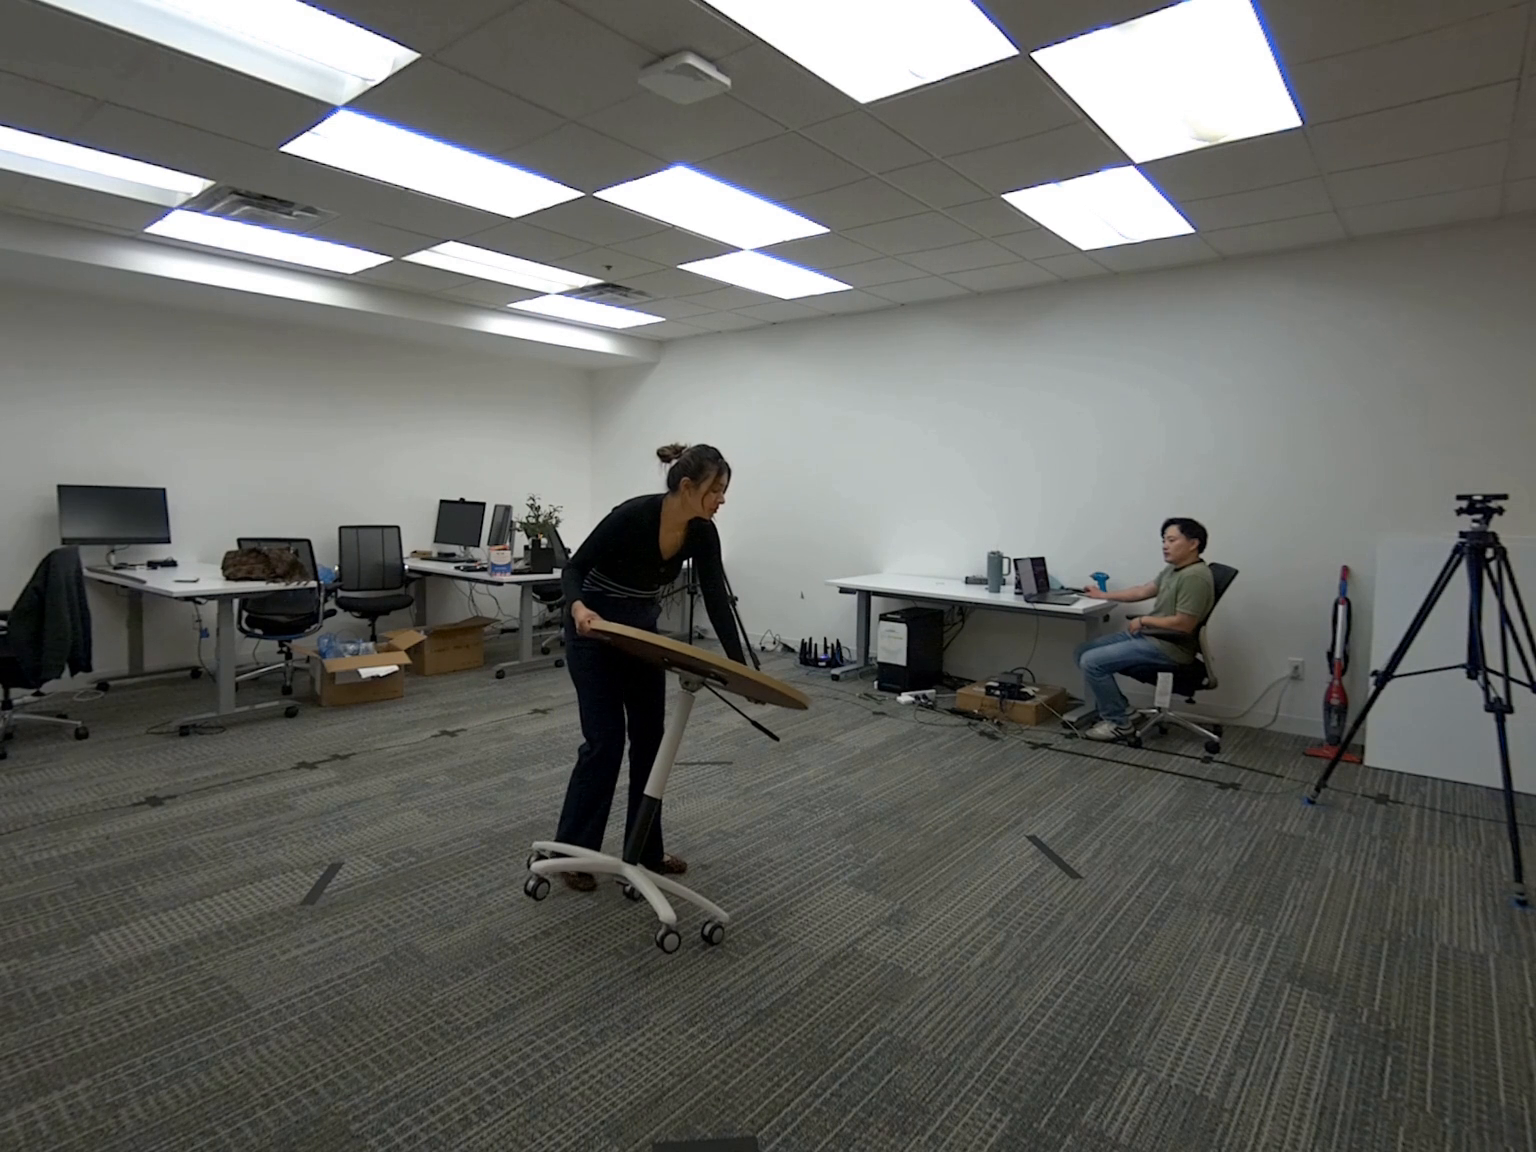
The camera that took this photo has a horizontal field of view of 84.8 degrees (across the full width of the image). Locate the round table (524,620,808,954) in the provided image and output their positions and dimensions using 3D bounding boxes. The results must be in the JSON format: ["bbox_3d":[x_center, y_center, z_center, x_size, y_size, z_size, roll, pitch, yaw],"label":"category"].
[{"bbox_3d":[-0.360,0.646,2.665,0.768,0.800,0.755,18,-13,3],"label":"round table"}]
